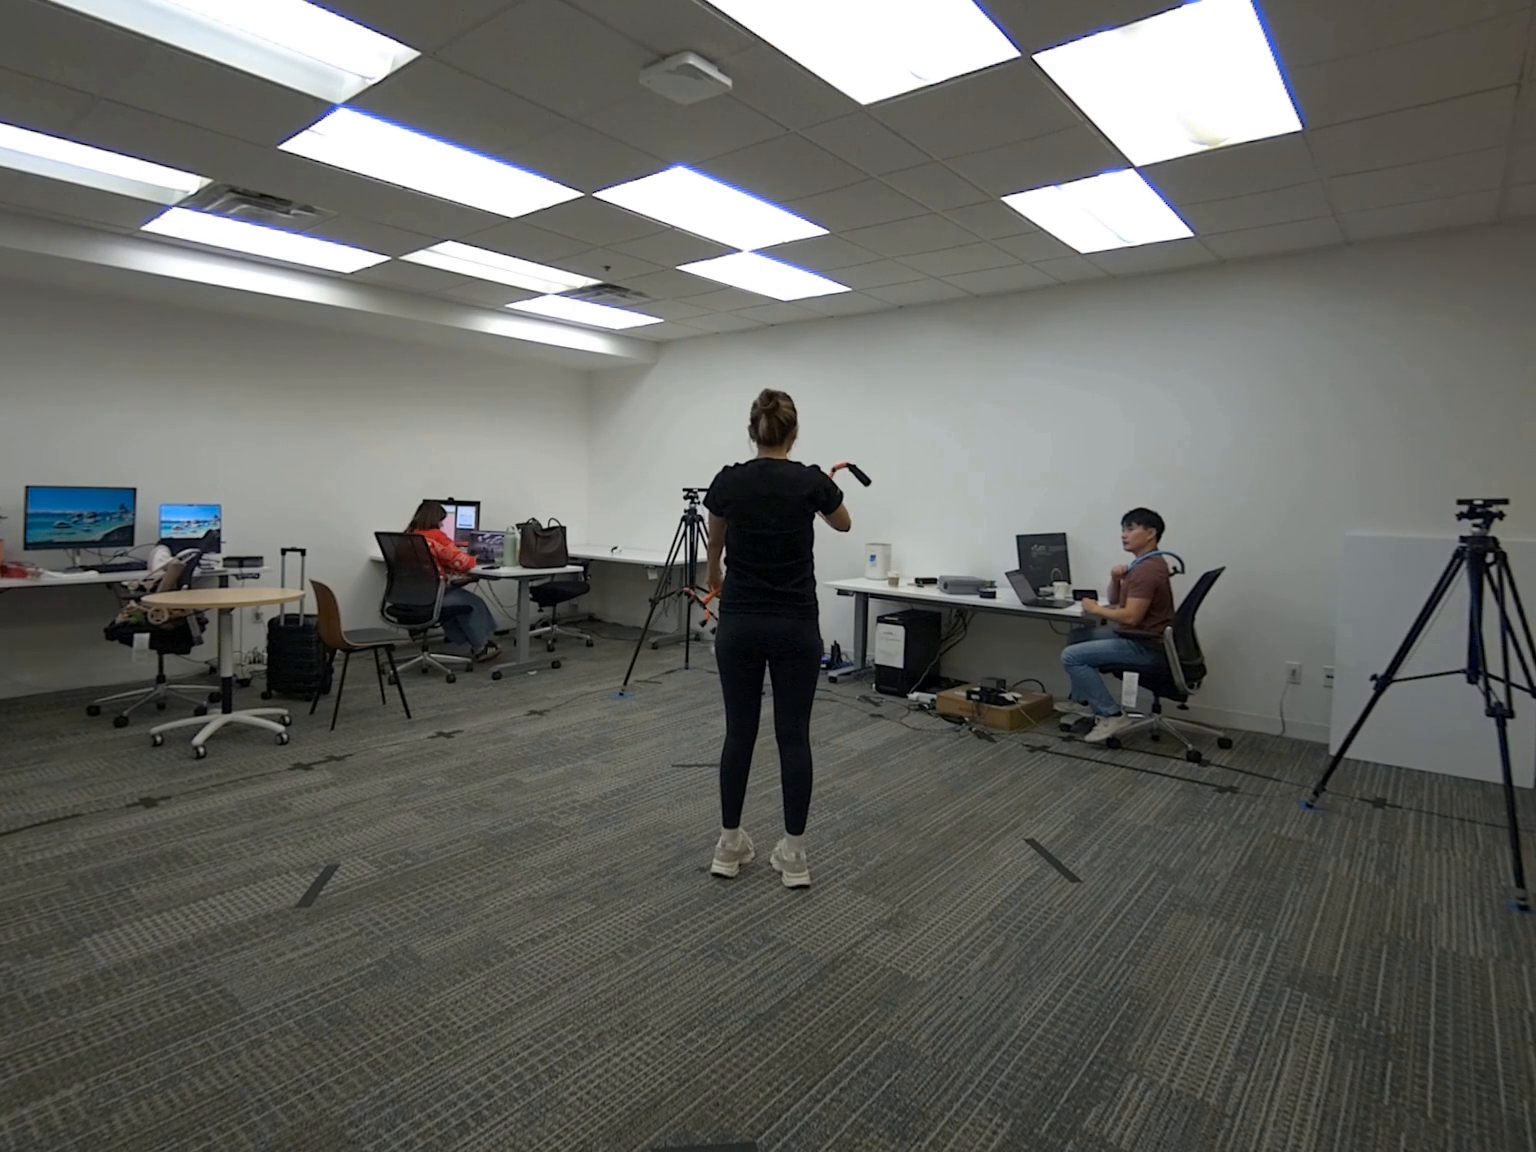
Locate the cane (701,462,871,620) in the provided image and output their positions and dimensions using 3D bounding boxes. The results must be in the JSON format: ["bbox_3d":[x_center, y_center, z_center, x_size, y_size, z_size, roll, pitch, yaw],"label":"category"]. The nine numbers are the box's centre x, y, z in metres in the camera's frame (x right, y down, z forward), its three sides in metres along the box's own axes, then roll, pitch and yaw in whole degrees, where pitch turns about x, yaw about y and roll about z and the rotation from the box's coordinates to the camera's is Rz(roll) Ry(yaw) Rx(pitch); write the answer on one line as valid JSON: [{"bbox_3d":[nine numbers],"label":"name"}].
[{"bbox_3d":[0.027,-0.139,3.537,0.214,0.908,0.146,49,3,31],"label":"cane"}]
